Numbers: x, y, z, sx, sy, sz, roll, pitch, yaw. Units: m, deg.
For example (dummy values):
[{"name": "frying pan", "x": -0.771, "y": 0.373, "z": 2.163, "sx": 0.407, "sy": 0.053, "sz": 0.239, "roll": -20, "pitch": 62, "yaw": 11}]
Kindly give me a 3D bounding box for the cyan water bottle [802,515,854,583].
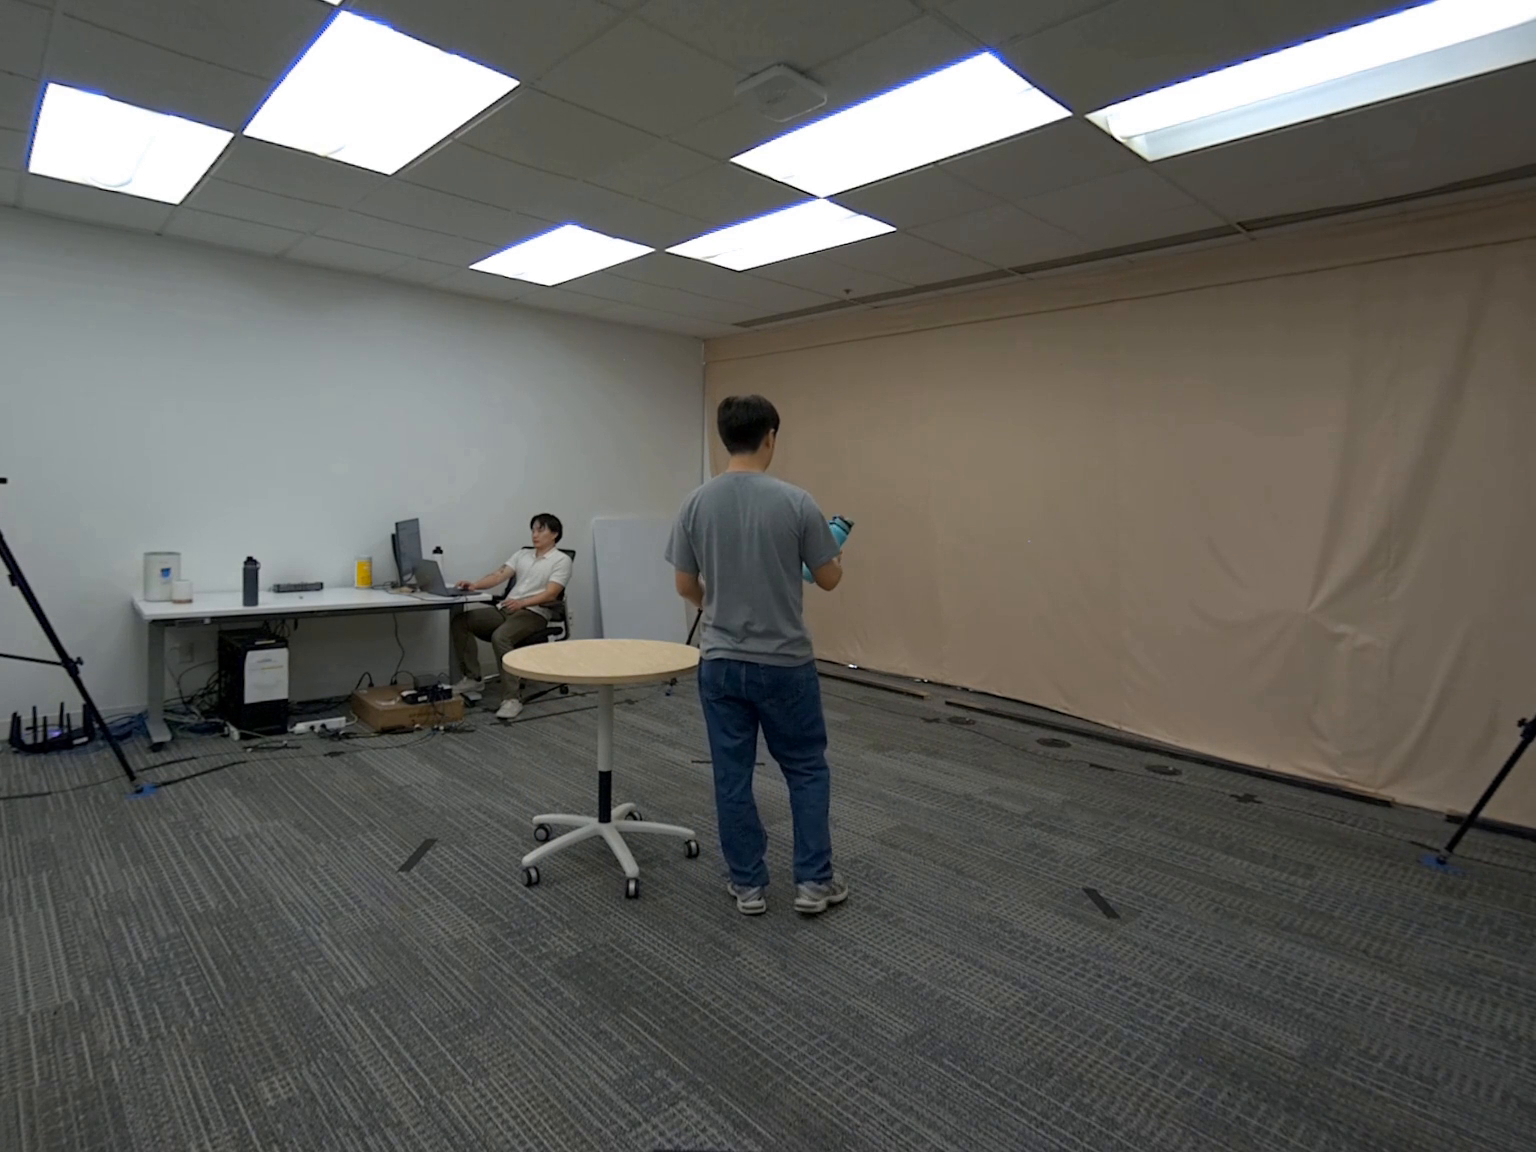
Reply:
[{"name": "cyan water bottle", "x": 0.213, "y": -0.105, "z": 3.167, "sx": 0.093, "sy": 0.284, "sz": 0.092, "roll": 35, "pitch": -8, "yaw": 4}]
